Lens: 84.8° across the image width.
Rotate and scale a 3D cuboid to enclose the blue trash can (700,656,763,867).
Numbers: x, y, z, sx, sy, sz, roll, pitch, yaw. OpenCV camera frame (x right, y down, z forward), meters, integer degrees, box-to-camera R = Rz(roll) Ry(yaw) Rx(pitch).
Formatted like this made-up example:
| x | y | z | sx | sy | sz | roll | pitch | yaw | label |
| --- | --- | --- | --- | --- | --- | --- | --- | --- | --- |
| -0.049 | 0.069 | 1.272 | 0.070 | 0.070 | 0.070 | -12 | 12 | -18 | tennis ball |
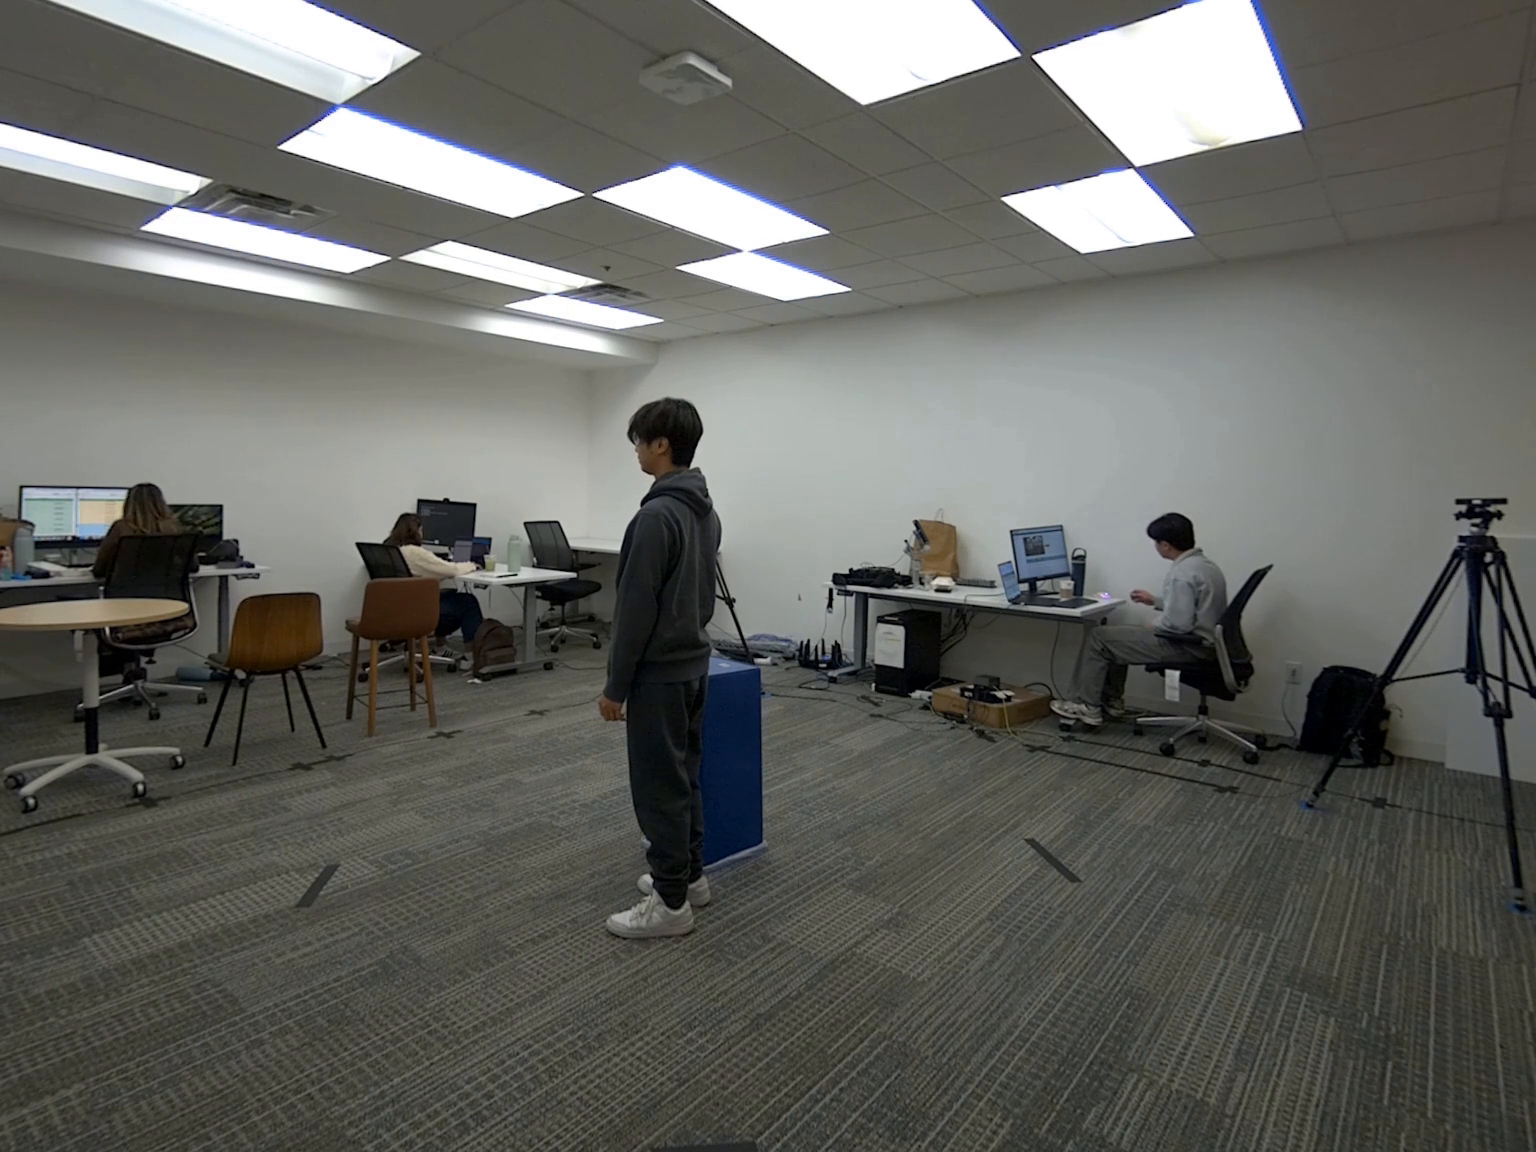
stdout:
| x | y | z | sx | sy | sz | roll | pitch | yaw | label |
| --- | --- | --- | --- | --- | --- | --- | --- | --- | --- |
| -0.243 | 0.695 | 3.298 | 0.362 | 0.712 | 0.391 | -1 | 4 | -44 | blue trash can |
